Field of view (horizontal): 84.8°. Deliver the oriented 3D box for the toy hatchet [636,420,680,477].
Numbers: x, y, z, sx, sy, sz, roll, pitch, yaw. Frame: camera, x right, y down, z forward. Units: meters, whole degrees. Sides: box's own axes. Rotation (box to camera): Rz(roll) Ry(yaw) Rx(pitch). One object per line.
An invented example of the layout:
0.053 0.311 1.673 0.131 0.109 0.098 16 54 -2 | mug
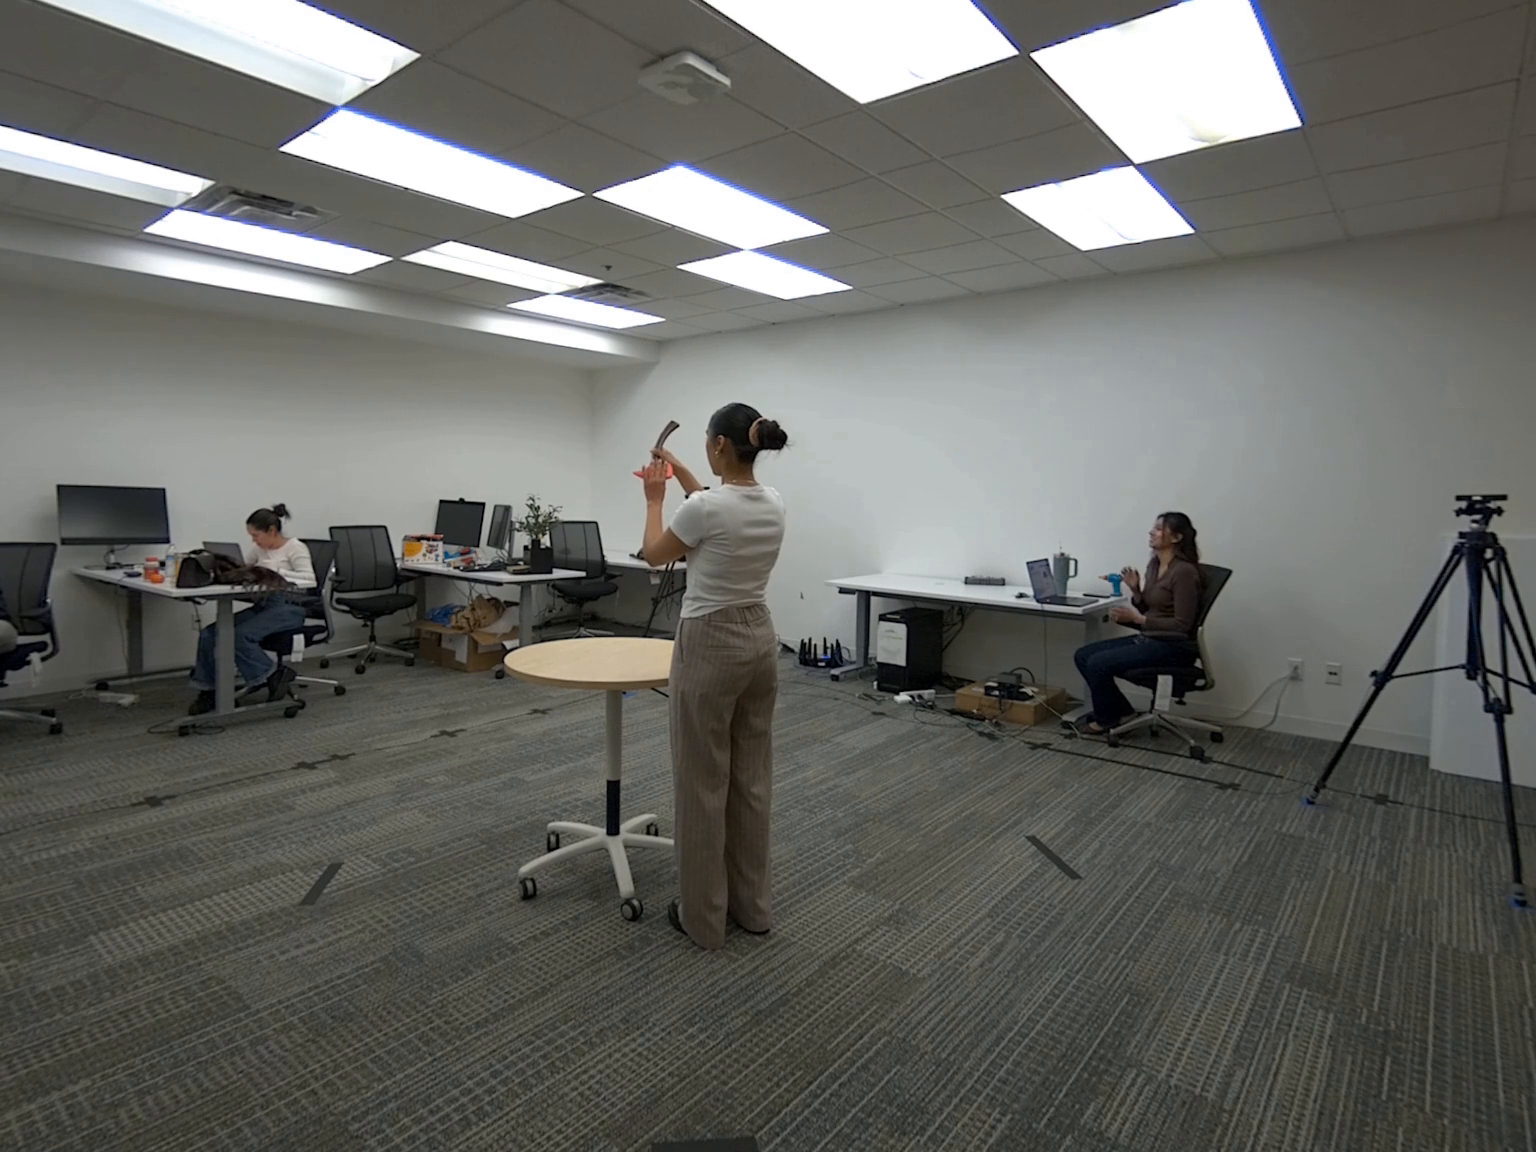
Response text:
-0.355 -0.430 2.944 0.134 0.272 0.029 20 -26 17 | toy hatchet
